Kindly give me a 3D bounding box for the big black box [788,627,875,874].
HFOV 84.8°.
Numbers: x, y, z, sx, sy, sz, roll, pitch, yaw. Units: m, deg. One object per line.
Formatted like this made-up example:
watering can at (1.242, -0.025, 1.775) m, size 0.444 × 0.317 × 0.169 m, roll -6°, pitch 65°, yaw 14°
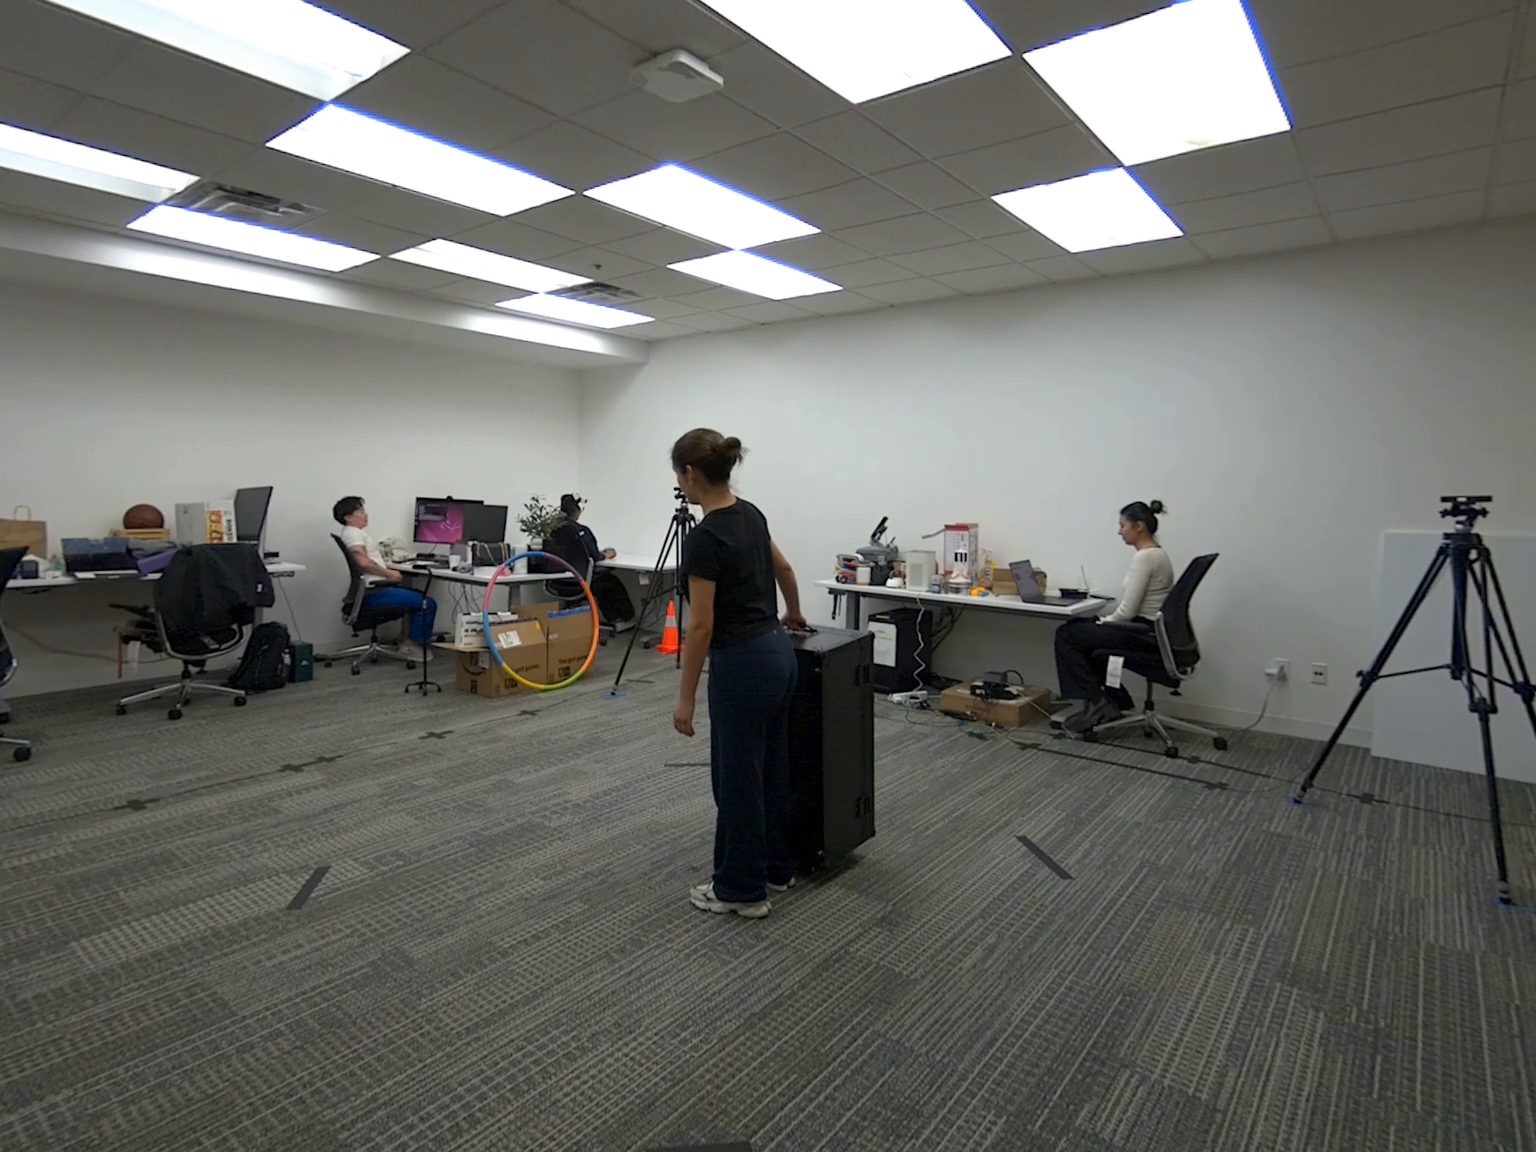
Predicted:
big black box at (0.120, 0.631, 3.205) m, size 0.539 × 0.855 × 0.386 m, roll 4°, pitch 9°, yaw 39°
